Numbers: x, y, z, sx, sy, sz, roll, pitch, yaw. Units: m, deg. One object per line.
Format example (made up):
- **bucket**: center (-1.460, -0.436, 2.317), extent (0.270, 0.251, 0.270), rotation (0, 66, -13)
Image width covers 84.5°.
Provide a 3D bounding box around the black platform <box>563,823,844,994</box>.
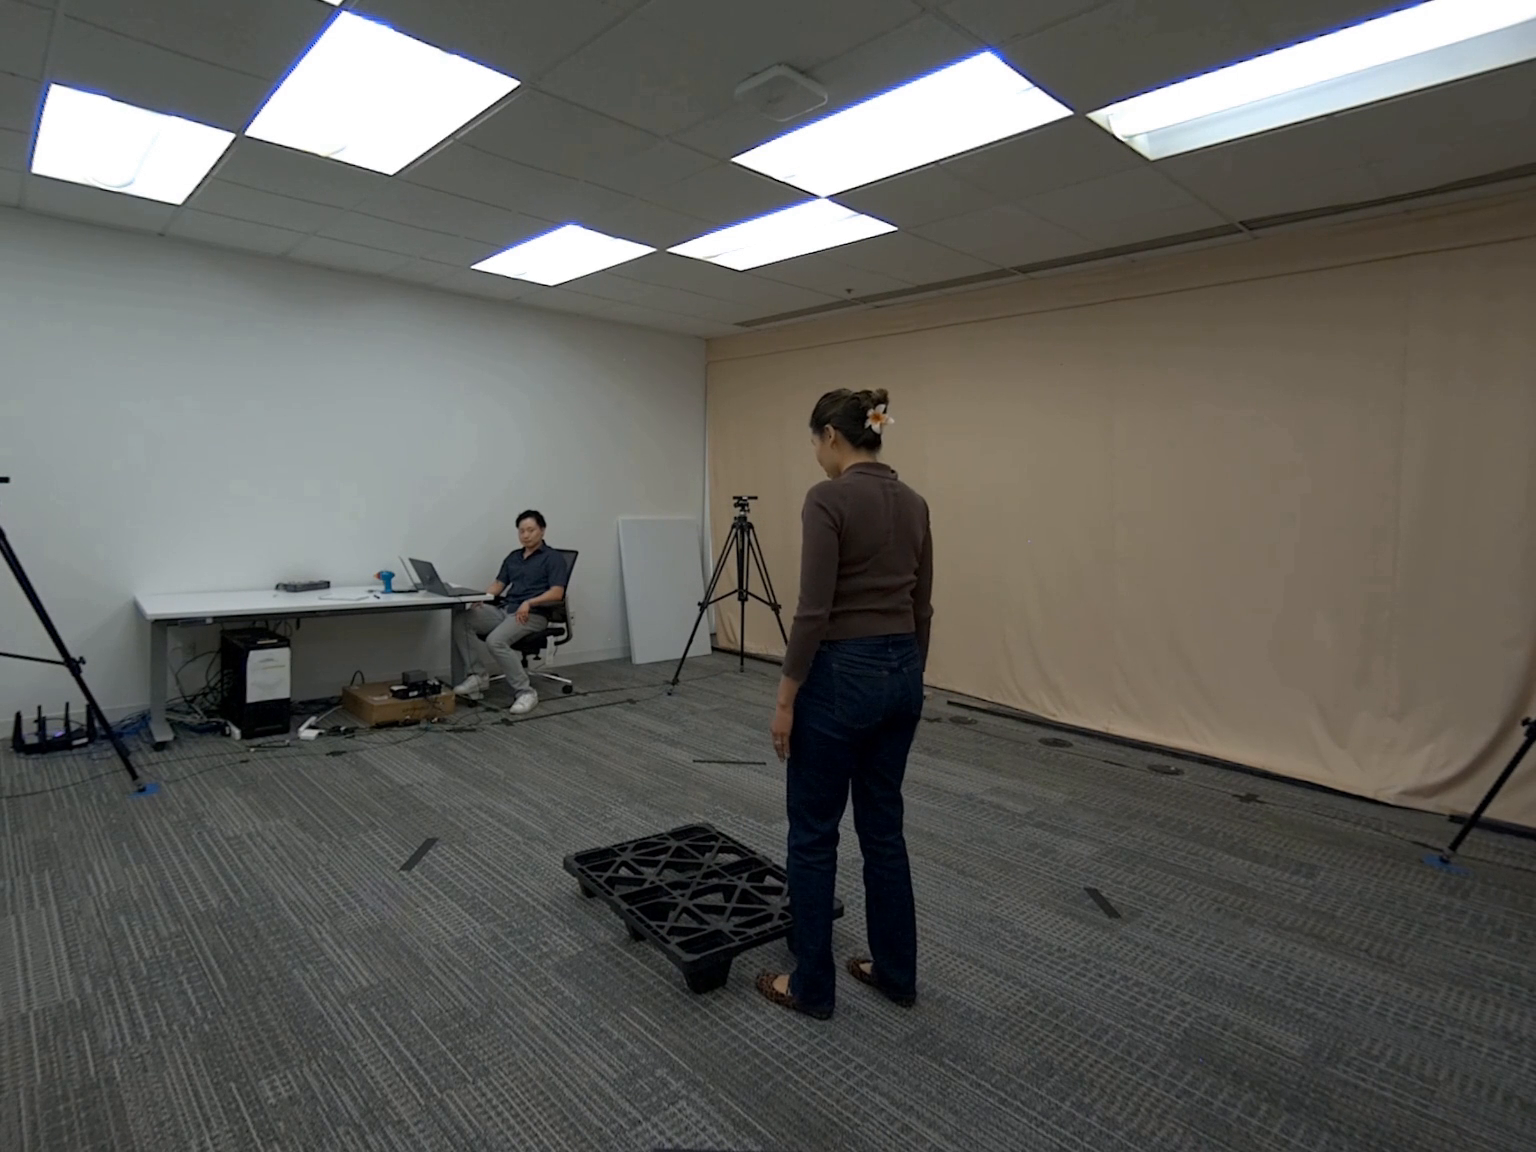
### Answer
- **black platform**: center (-0.243, 1.065, 2.777), extent (0.592, 0.143, 0.826), rotation (-2, 6, -37)
